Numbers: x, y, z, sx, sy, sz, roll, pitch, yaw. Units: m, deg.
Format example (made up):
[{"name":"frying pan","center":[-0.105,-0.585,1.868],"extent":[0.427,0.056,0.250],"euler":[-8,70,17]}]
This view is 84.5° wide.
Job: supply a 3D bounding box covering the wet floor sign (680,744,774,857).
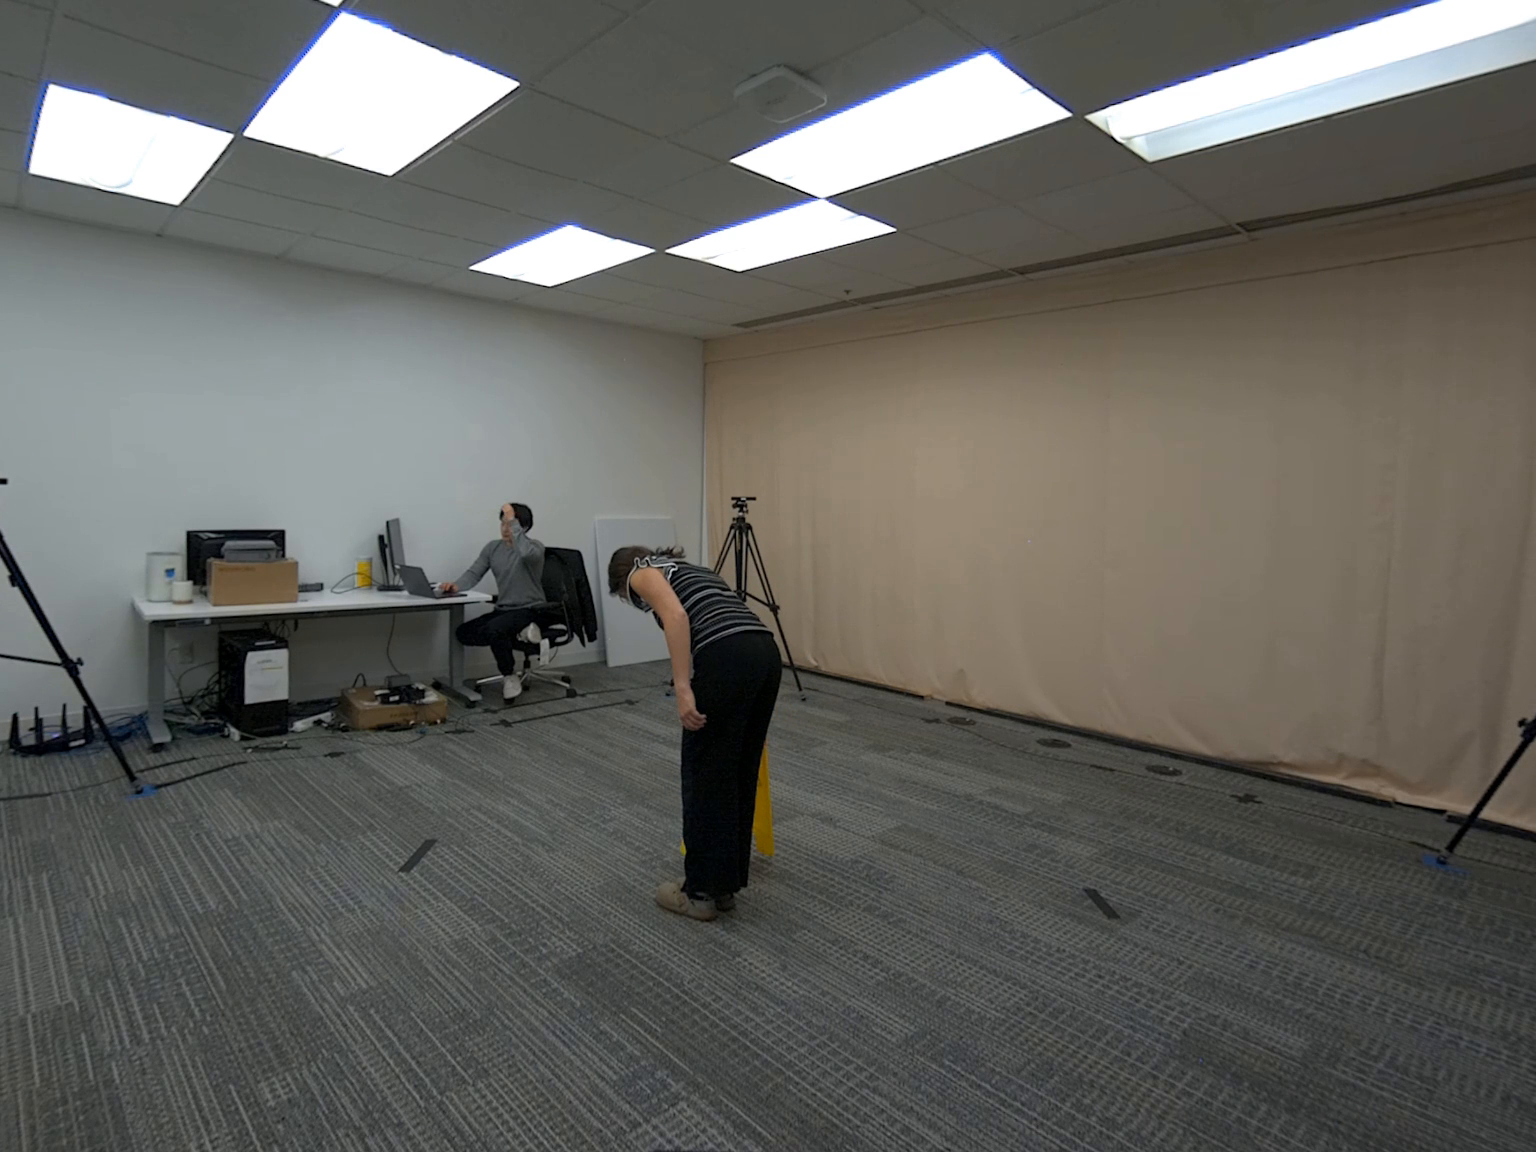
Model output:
[{"name":"wet floor sign","center":[-0.135,0.757,3.168],"extent":[0.290,0.641,0.284],"euler":[13,14,34]}]
